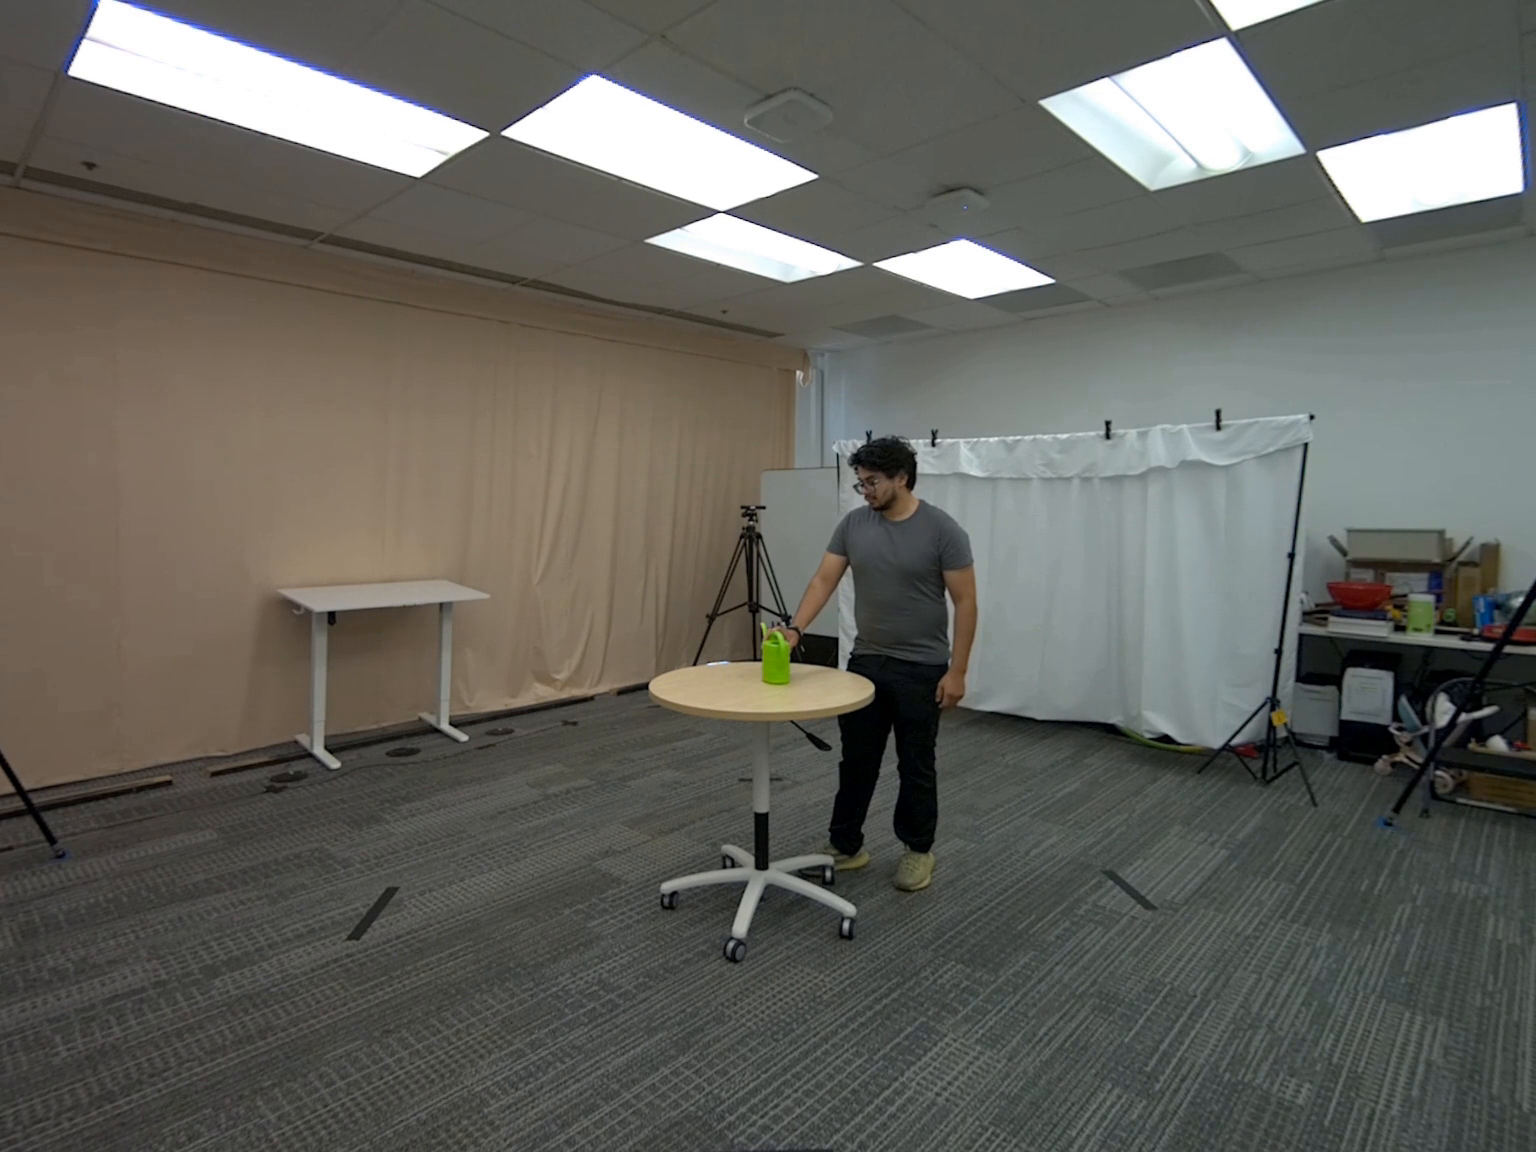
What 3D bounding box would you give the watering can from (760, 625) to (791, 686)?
[{"bbox_3d":[0.030,0.280,2.970,0.097,0.176,0.281,2,6,-7],"label":"watering can"}]
